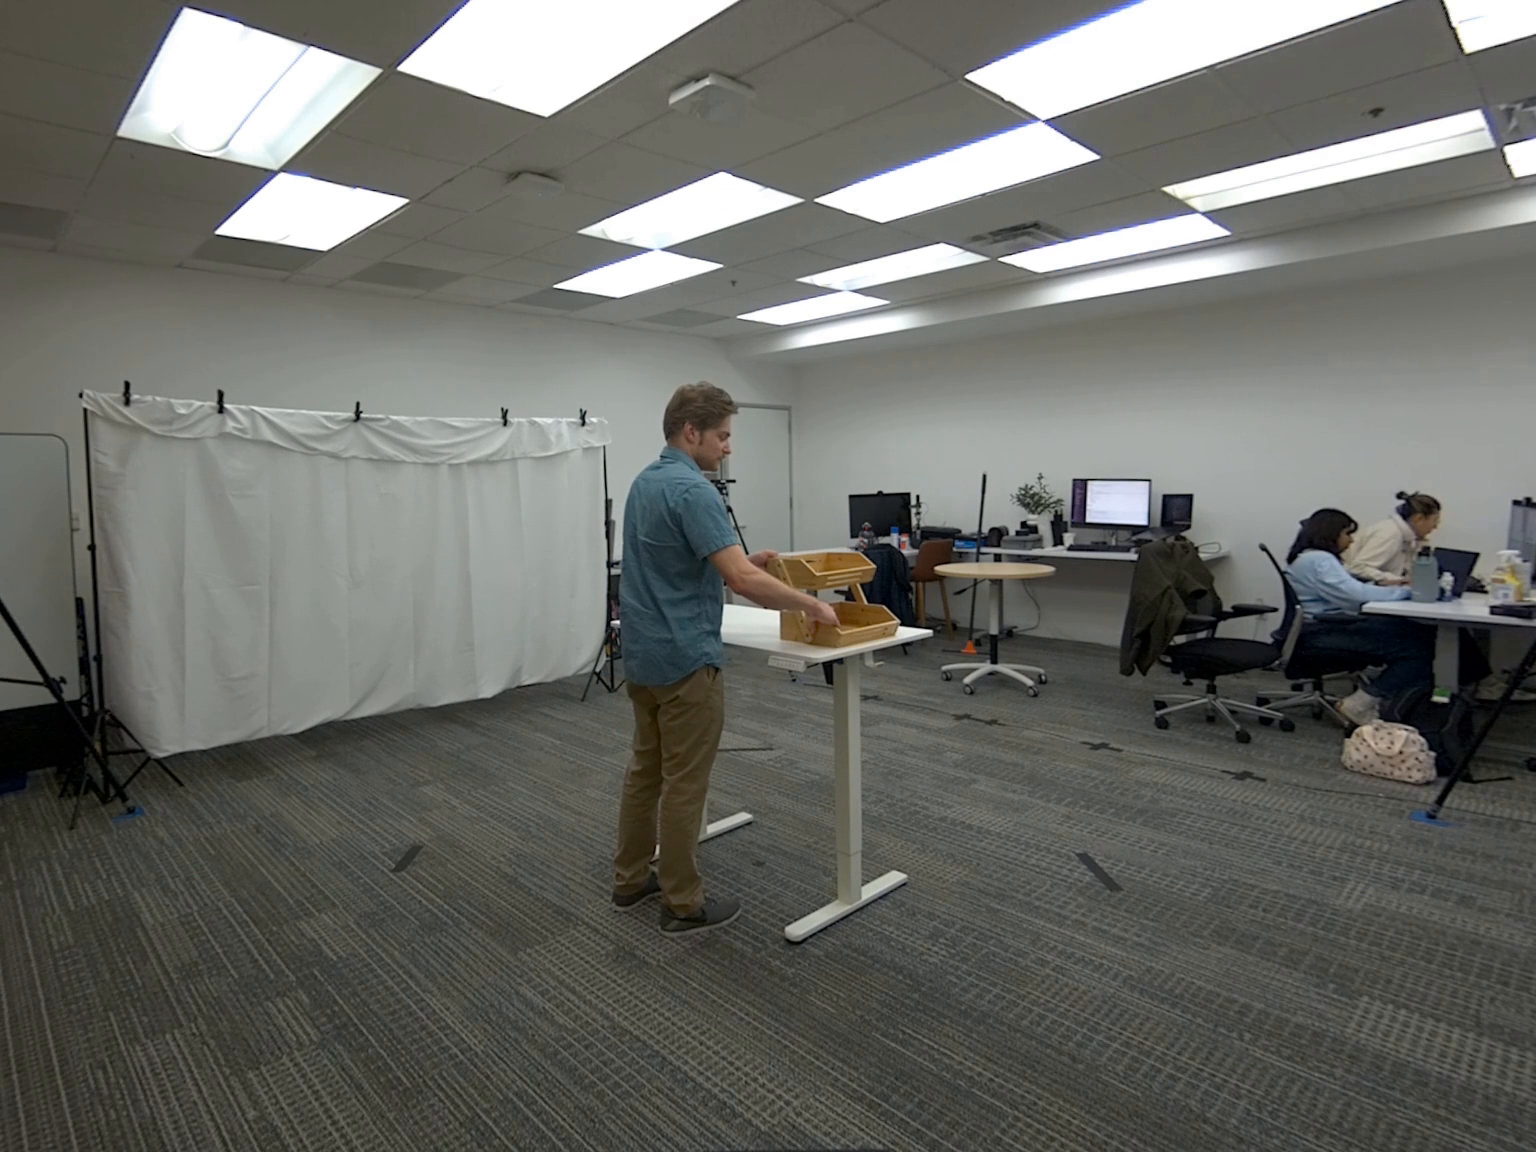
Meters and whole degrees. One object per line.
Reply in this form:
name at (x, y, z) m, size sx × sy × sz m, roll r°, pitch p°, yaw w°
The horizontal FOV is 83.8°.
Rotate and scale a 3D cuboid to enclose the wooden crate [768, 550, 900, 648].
wooden crate at (0.216, 0.063, 2.755) m, size 0.316 × 0.272 × 0.311 m, roll -6°, pitch 6°, yaw -45°
